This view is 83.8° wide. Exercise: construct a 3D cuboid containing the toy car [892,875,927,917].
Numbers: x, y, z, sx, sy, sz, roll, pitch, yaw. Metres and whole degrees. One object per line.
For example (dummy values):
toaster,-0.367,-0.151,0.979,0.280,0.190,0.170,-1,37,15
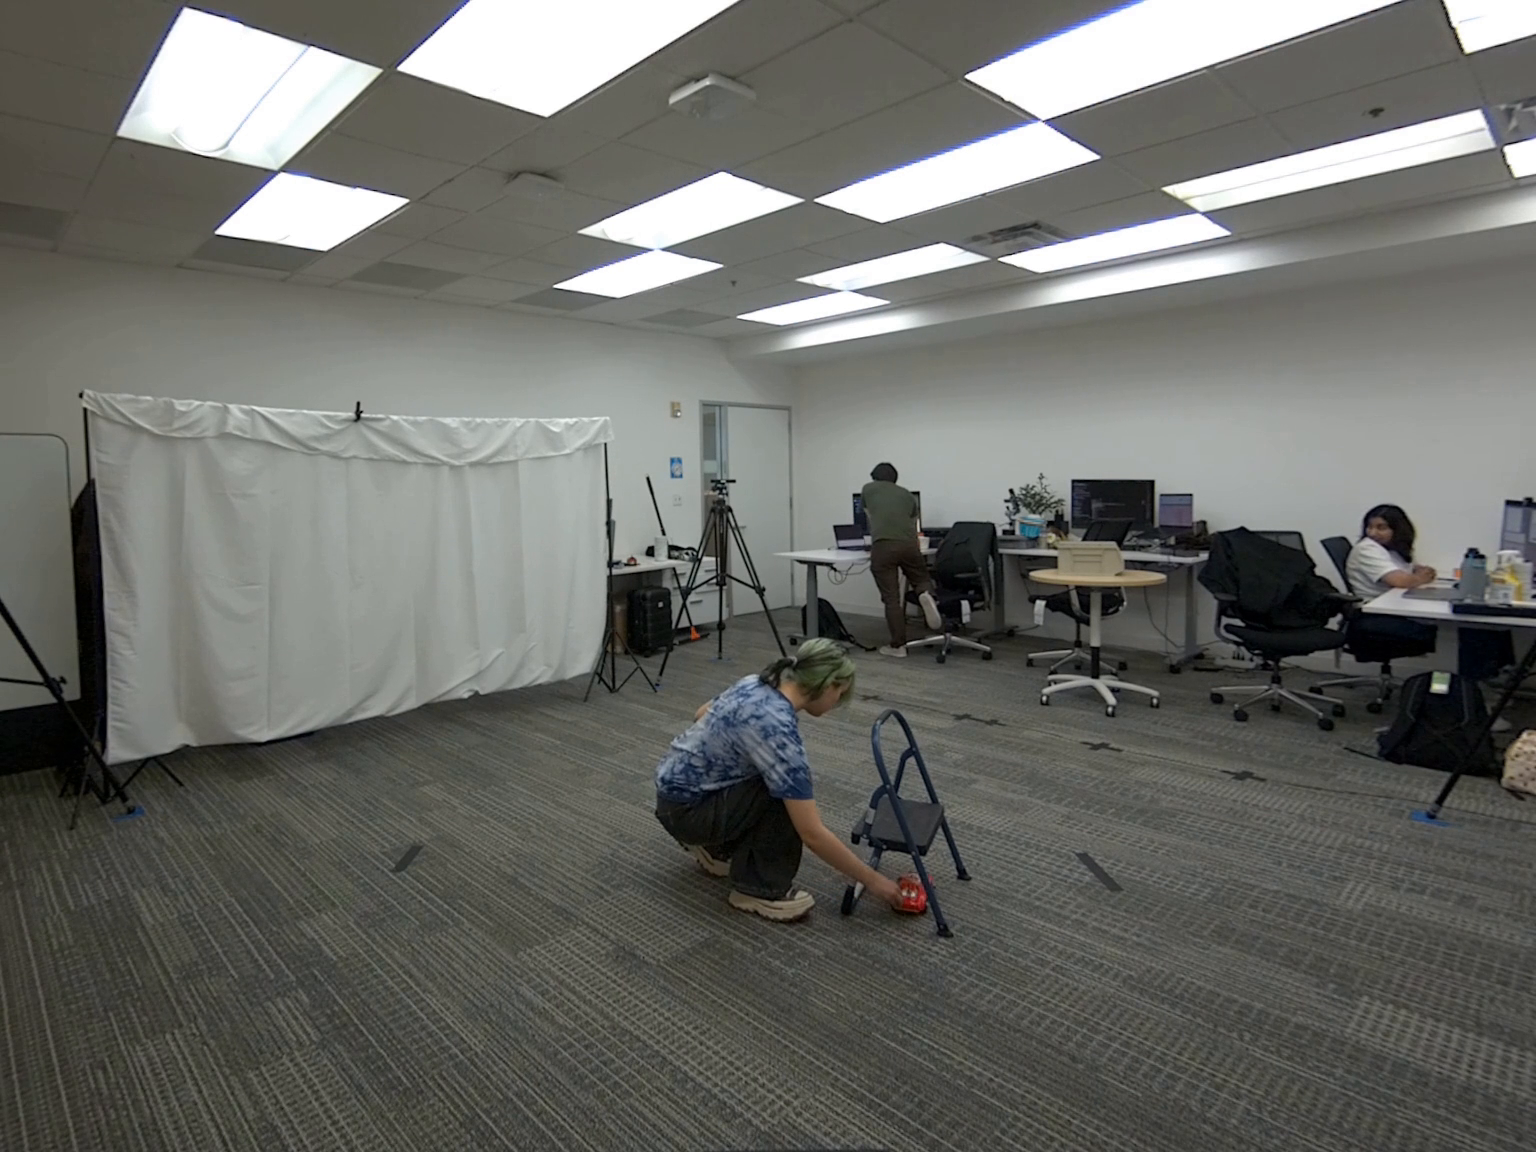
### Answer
toy car,0.467,1.033,2.788,0.133,0.083,0.249,4,-2,19
